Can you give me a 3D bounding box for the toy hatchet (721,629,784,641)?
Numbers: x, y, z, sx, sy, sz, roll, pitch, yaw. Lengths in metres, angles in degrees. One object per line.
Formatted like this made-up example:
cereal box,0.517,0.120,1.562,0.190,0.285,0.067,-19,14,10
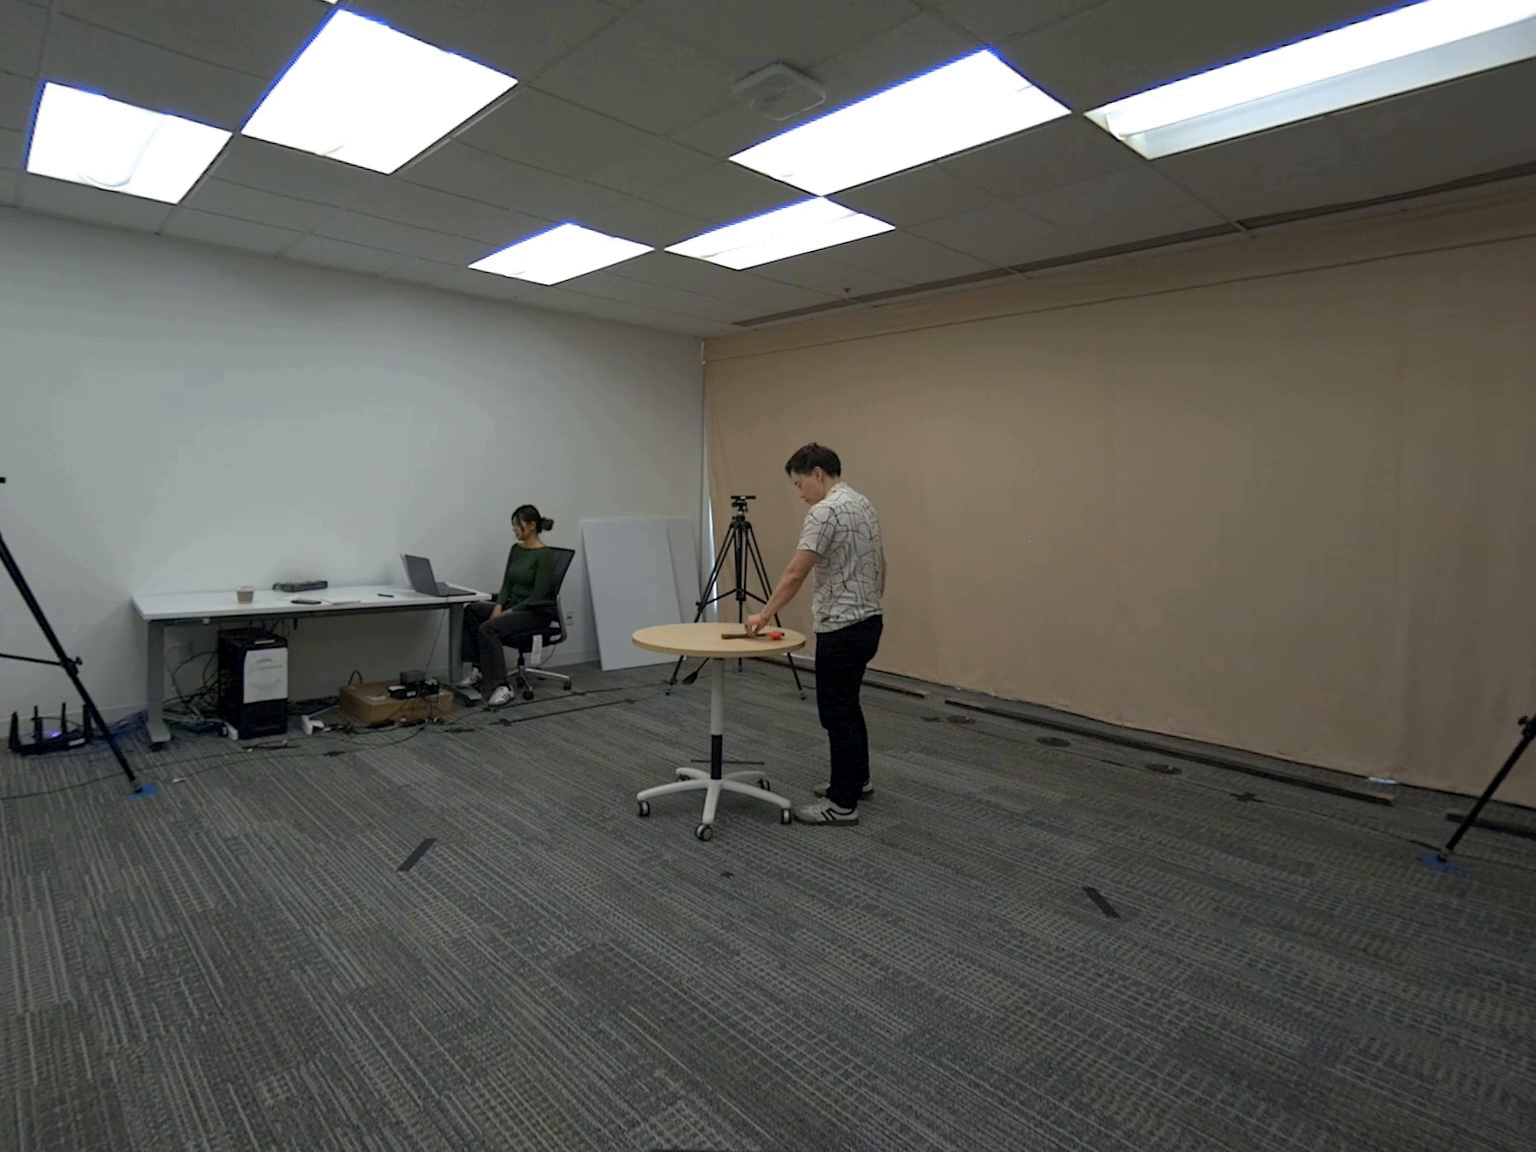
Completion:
toy hatchet,-0.063,0.254,3.637,0.267,0.030,0.132,0,-5,-15
